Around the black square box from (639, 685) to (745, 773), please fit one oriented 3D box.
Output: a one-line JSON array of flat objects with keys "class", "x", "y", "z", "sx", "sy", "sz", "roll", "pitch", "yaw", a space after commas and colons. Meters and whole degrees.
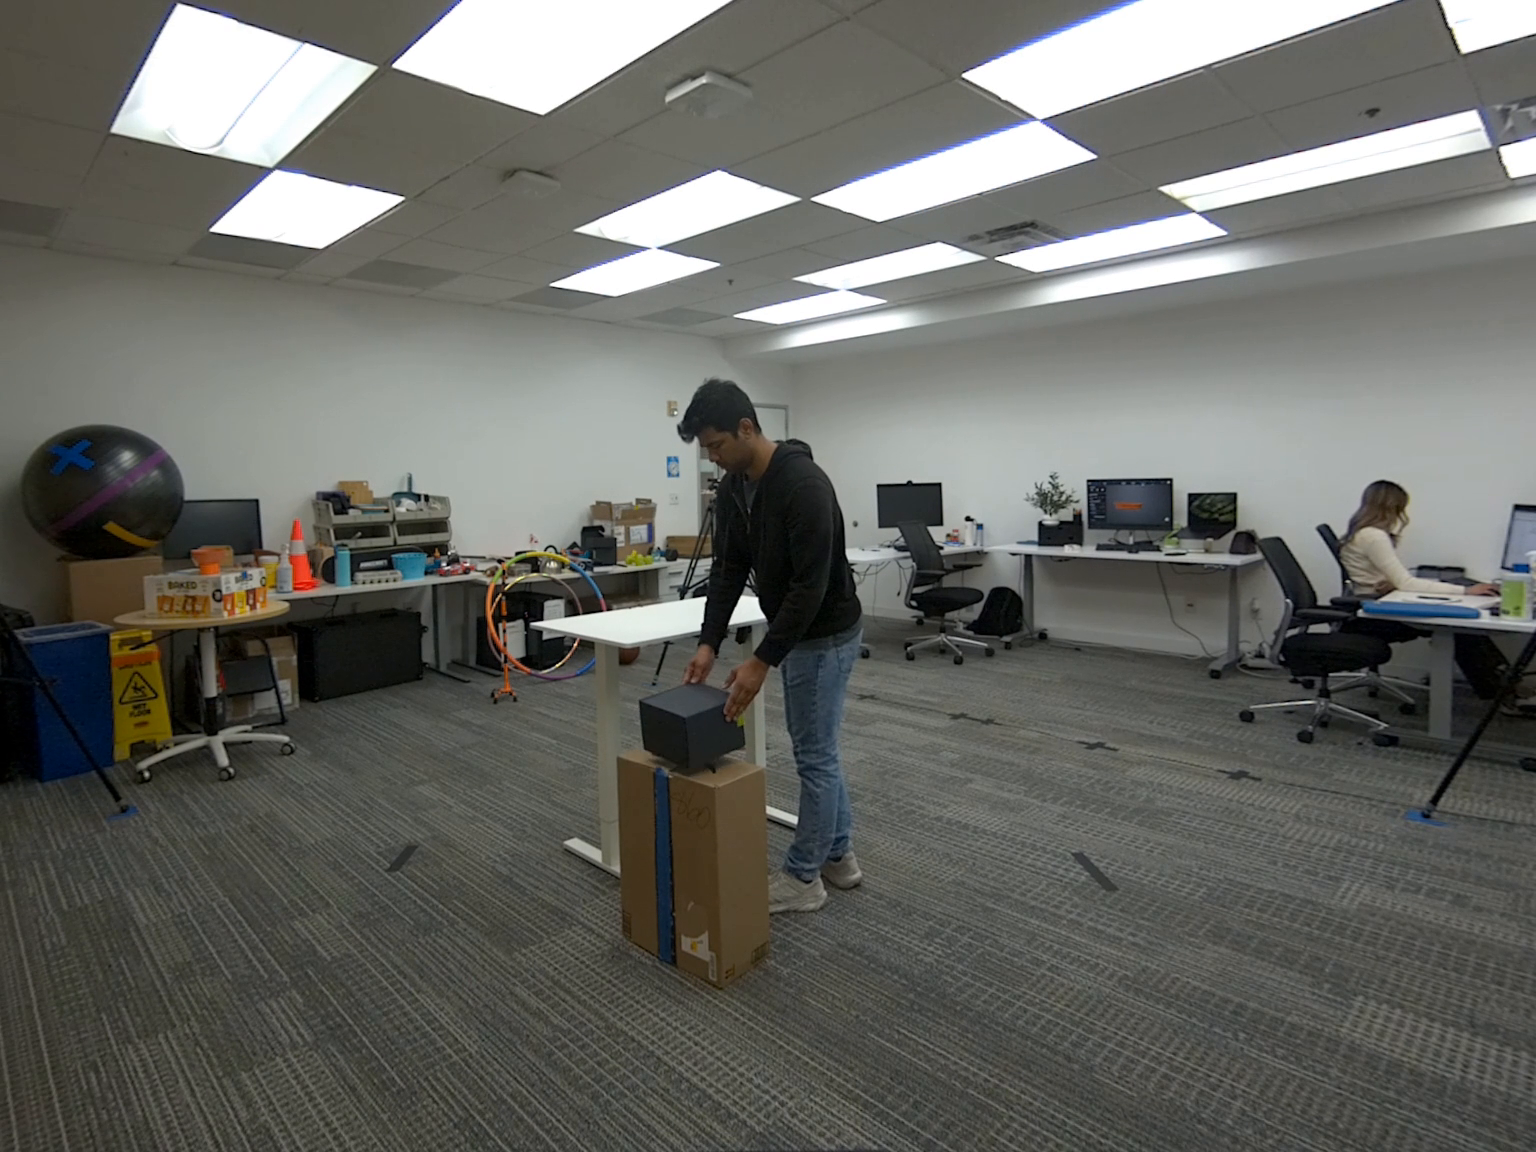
[{"class": "black square box", "x": -0.232, "y": 0.421, "z": 2.517, "sx": 0.212, "sy": 0.155, "sz": 0.235, "roll": -10, "pitch": 11, "yaw": -40}]
